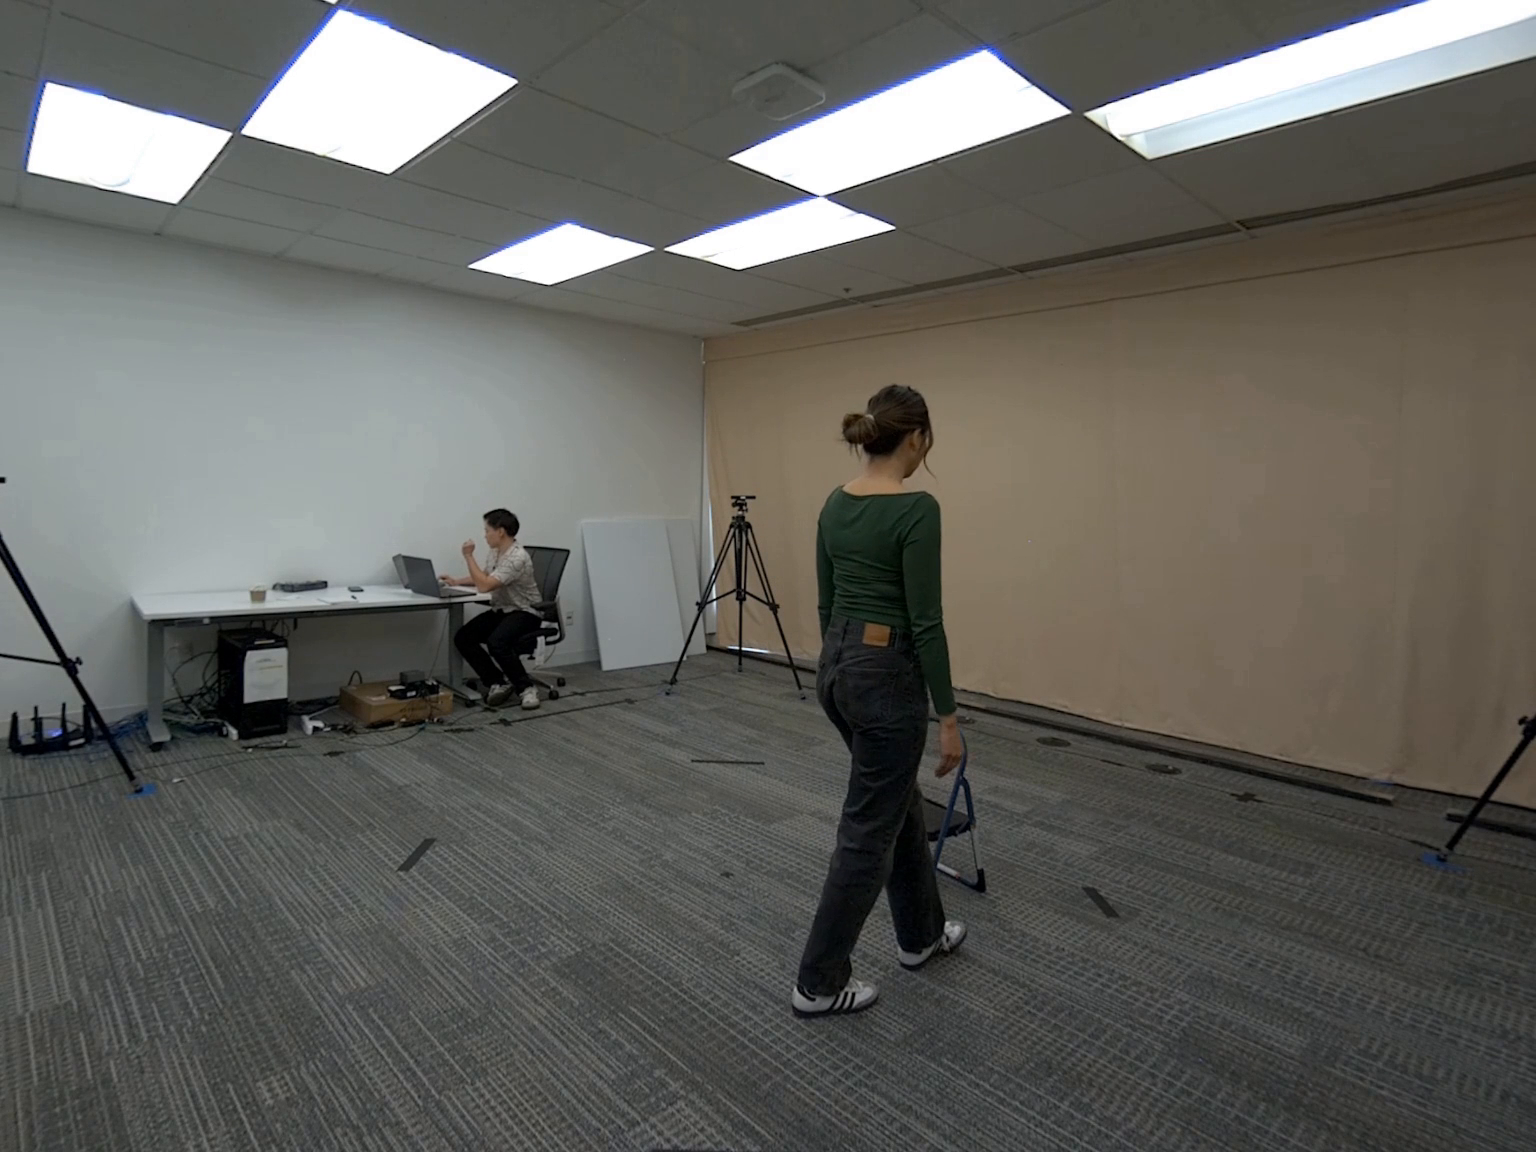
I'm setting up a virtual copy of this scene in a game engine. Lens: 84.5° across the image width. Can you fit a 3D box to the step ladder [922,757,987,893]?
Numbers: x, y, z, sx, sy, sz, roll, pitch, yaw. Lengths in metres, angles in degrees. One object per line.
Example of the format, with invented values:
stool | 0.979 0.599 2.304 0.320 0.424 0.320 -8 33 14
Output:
step ladder | 0.536 0.820 3.078 0.341 0.604 0.441 0 4 -35
